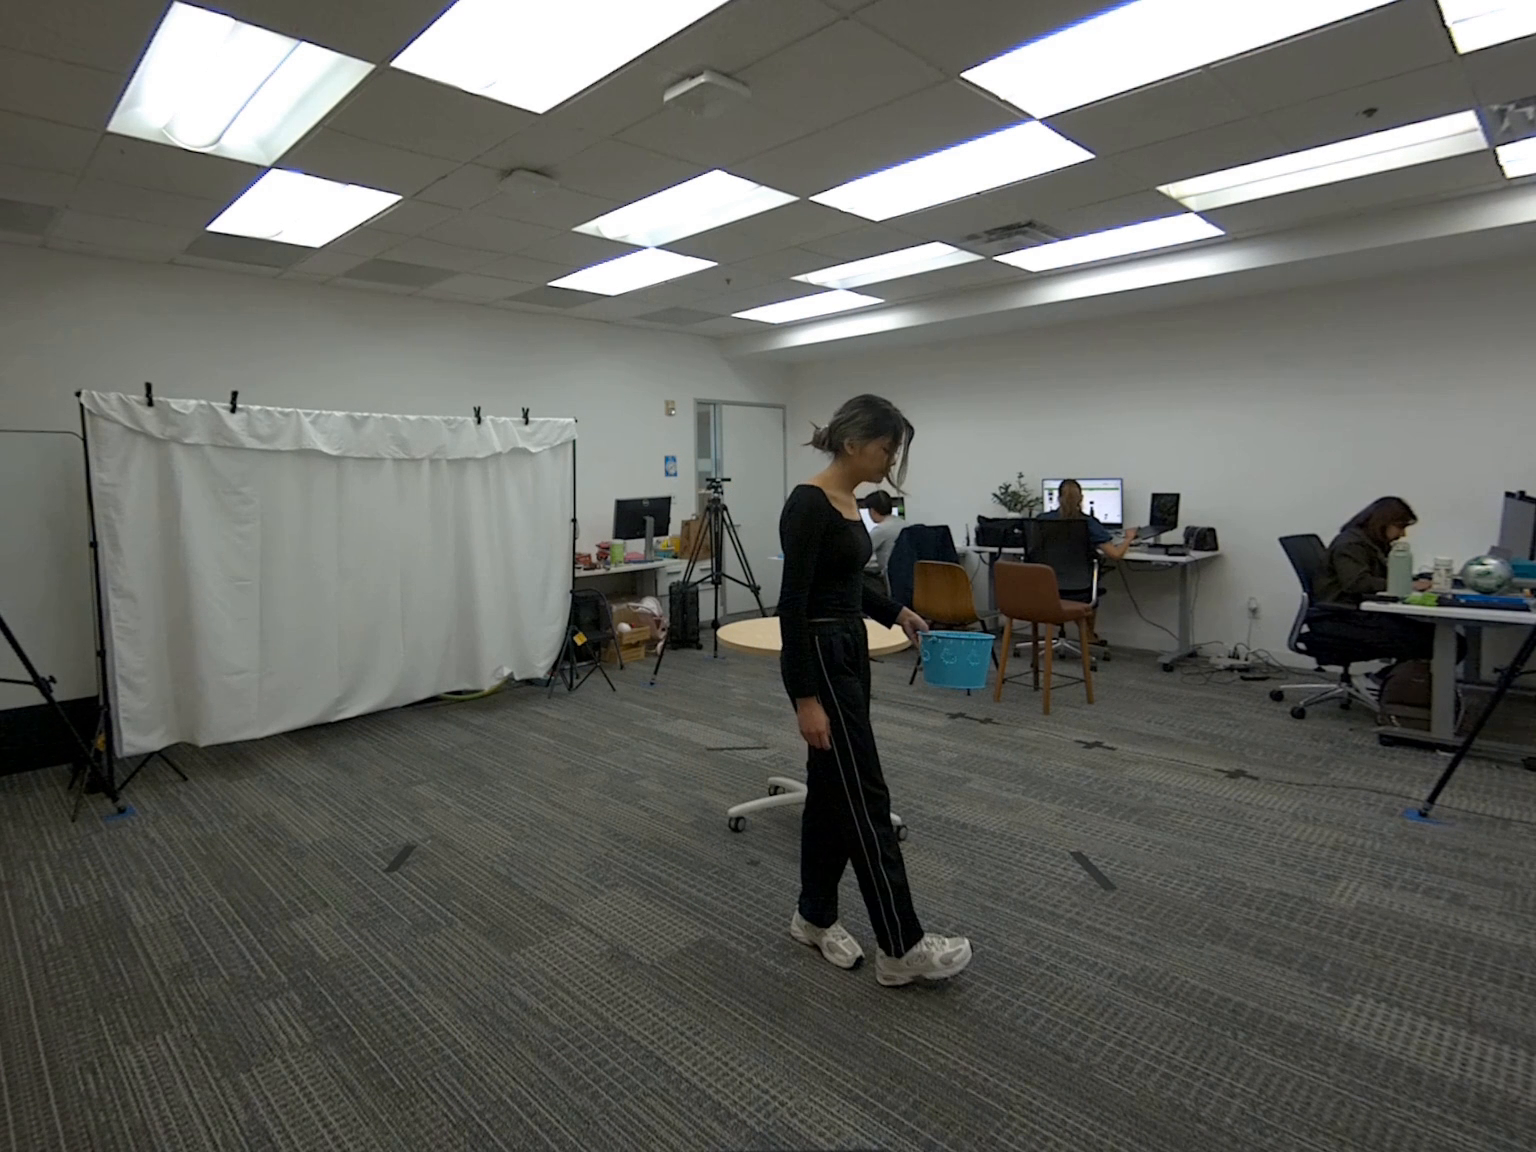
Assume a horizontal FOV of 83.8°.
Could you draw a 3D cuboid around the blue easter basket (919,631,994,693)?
[{"bbox_3d":[0.574,0.250,2.614,0.243,0.156,0.243,0,-1,-2],"label":"blue easter basket"}]
